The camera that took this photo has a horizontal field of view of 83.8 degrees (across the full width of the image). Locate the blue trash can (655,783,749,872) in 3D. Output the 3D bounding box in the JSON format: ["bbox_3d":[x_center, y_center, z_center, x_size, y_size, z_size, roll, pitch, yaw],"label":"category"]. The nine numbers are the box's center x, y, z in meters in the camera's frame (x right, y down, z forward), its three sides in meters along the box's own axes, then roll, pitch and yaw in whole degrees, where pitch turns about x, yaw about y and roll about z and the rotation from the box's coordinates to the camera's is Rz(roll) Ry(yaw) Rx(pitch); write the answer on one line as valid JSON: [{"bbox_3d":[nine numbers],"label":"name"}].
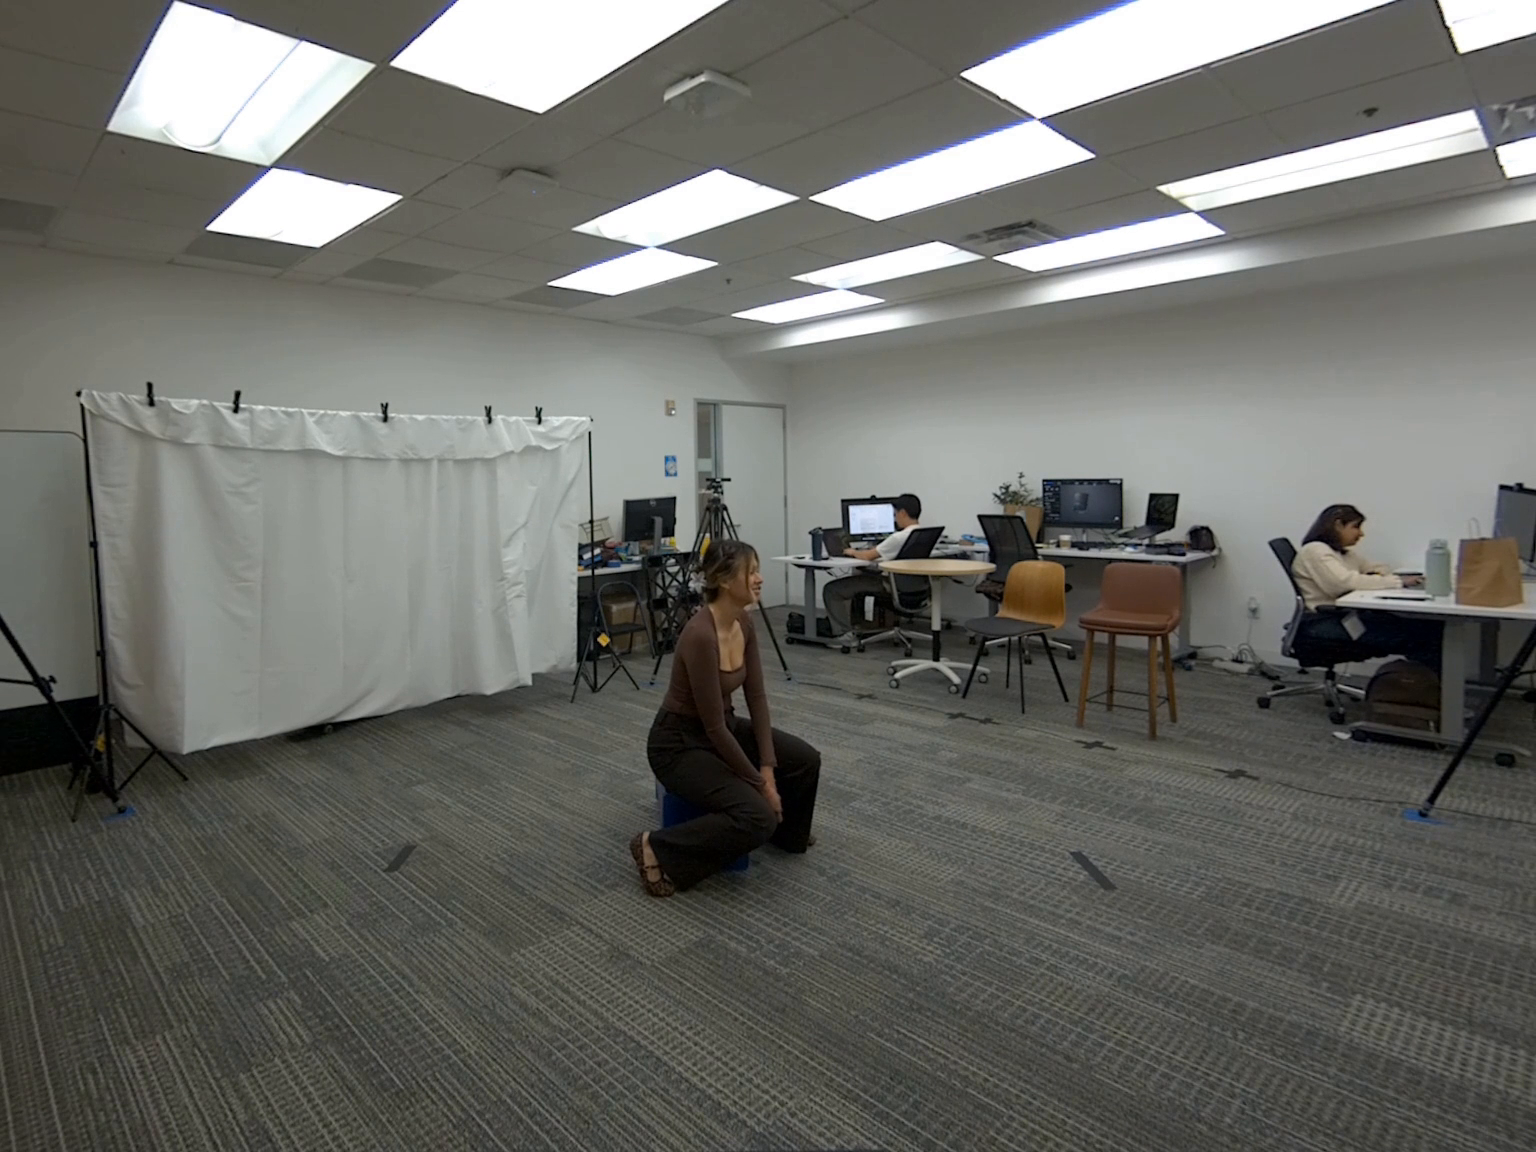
[{"bbox_3d":[-0.245,0.848,3.377,0.371,0.375,0.724,-1,9,-8],"label":"blue trash can"}]
